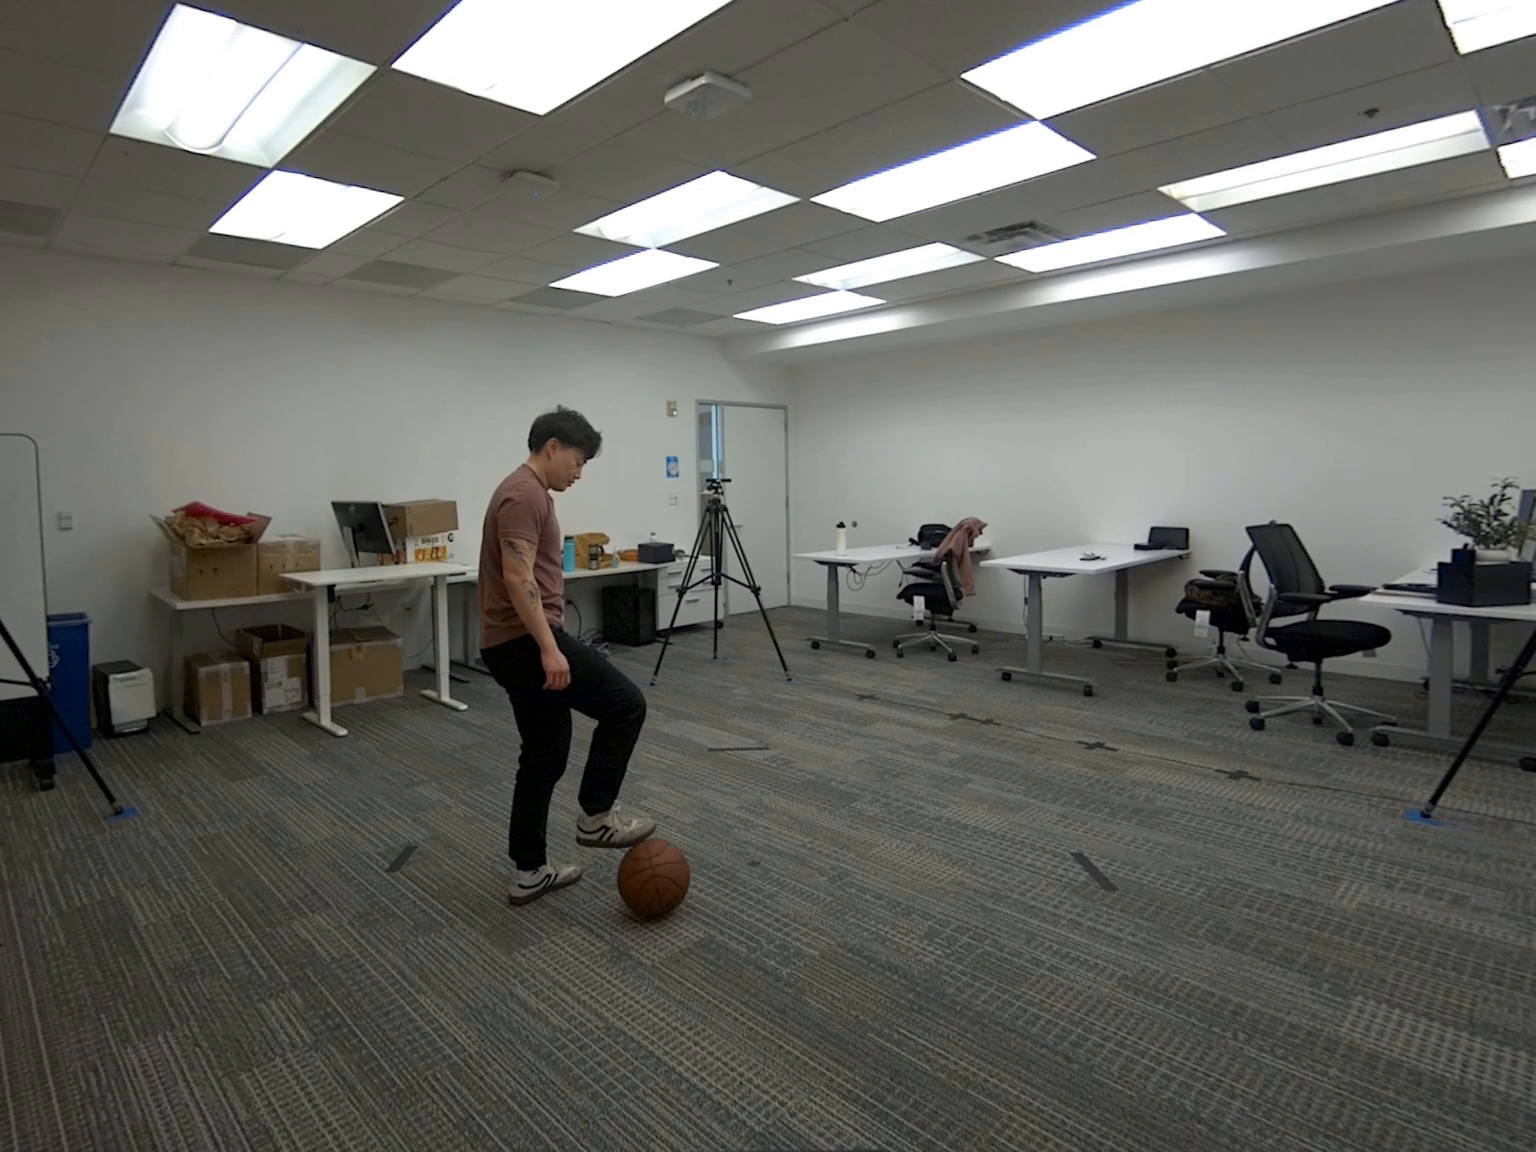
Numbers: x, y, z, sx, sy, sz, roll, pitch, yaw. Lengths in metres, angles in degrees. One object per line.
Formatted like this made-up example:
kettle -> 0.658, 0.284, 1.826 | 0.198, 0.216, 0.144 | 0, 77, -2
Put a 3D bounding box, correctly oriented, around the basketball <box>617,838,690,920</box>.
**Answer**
basketball -> -0.363, 0.973, 2.754 | 0.236, 0.235, 0.237 | -1, 5, -2
